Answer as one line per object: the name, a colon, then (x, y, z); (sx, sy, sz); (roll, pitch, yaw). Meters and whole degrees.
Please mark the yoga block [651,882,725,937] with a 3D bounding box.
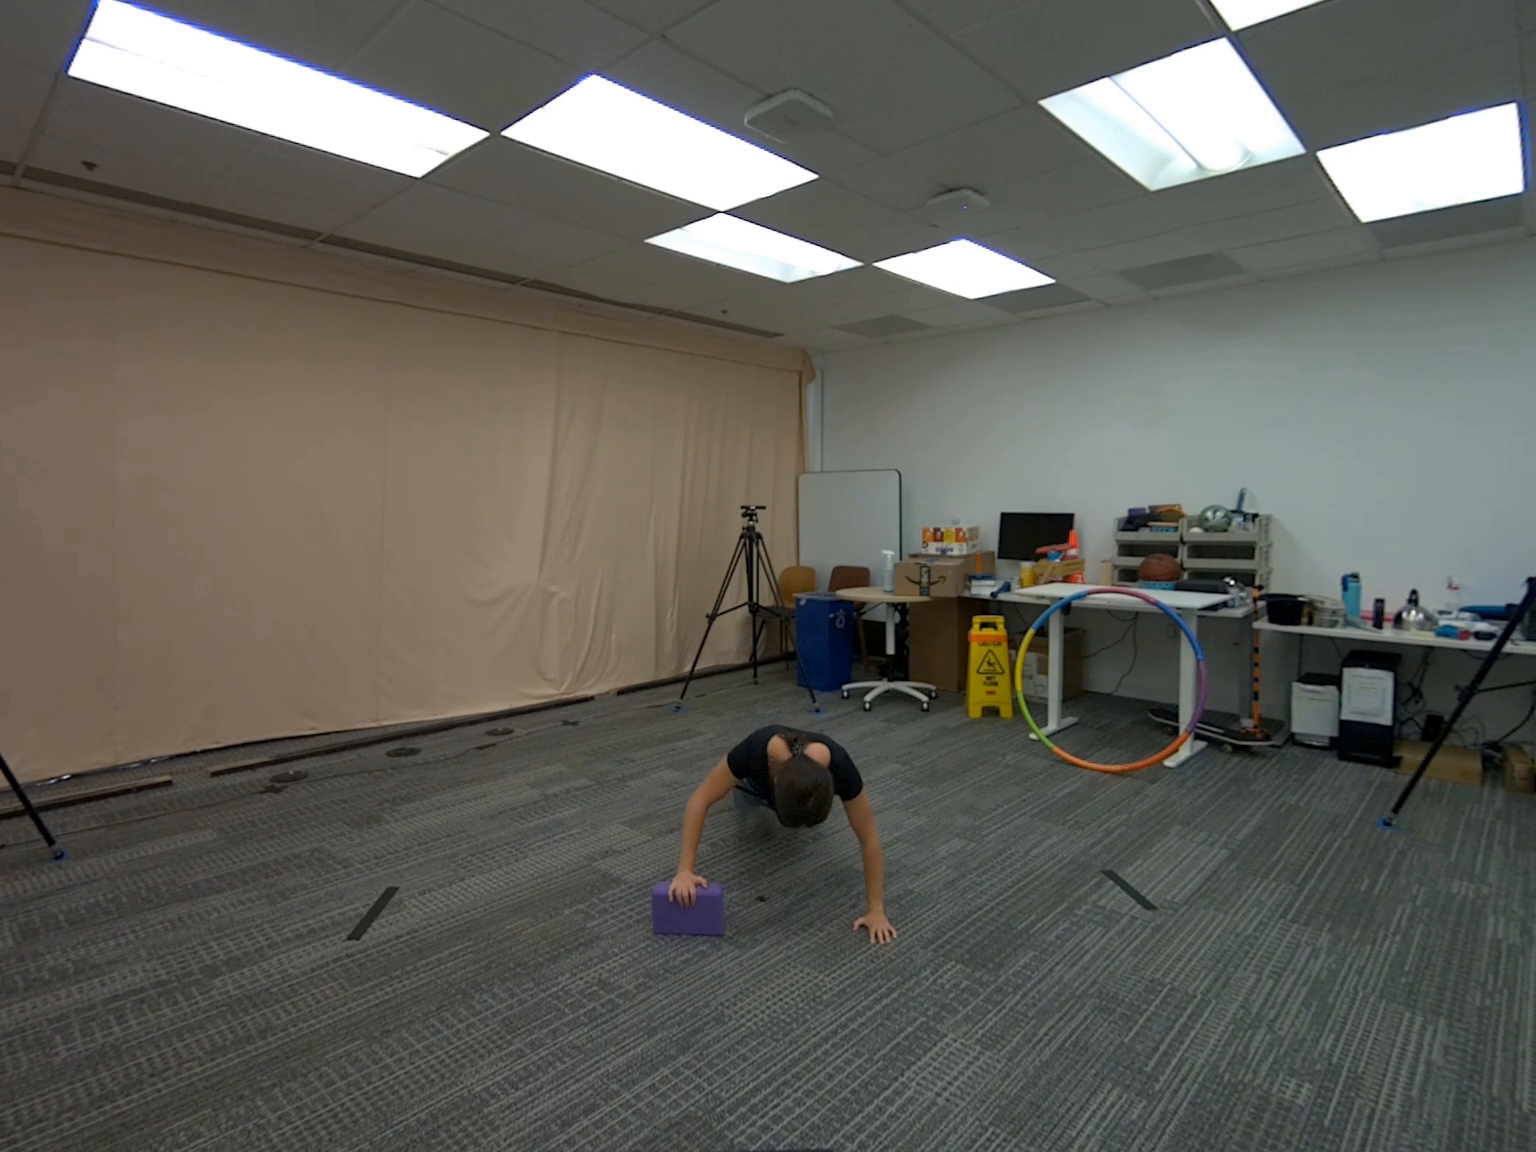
yoga block: (-0.254, 1.090, 2.756); (0.231, 0.149, 0.076); (2, 2, 5)
